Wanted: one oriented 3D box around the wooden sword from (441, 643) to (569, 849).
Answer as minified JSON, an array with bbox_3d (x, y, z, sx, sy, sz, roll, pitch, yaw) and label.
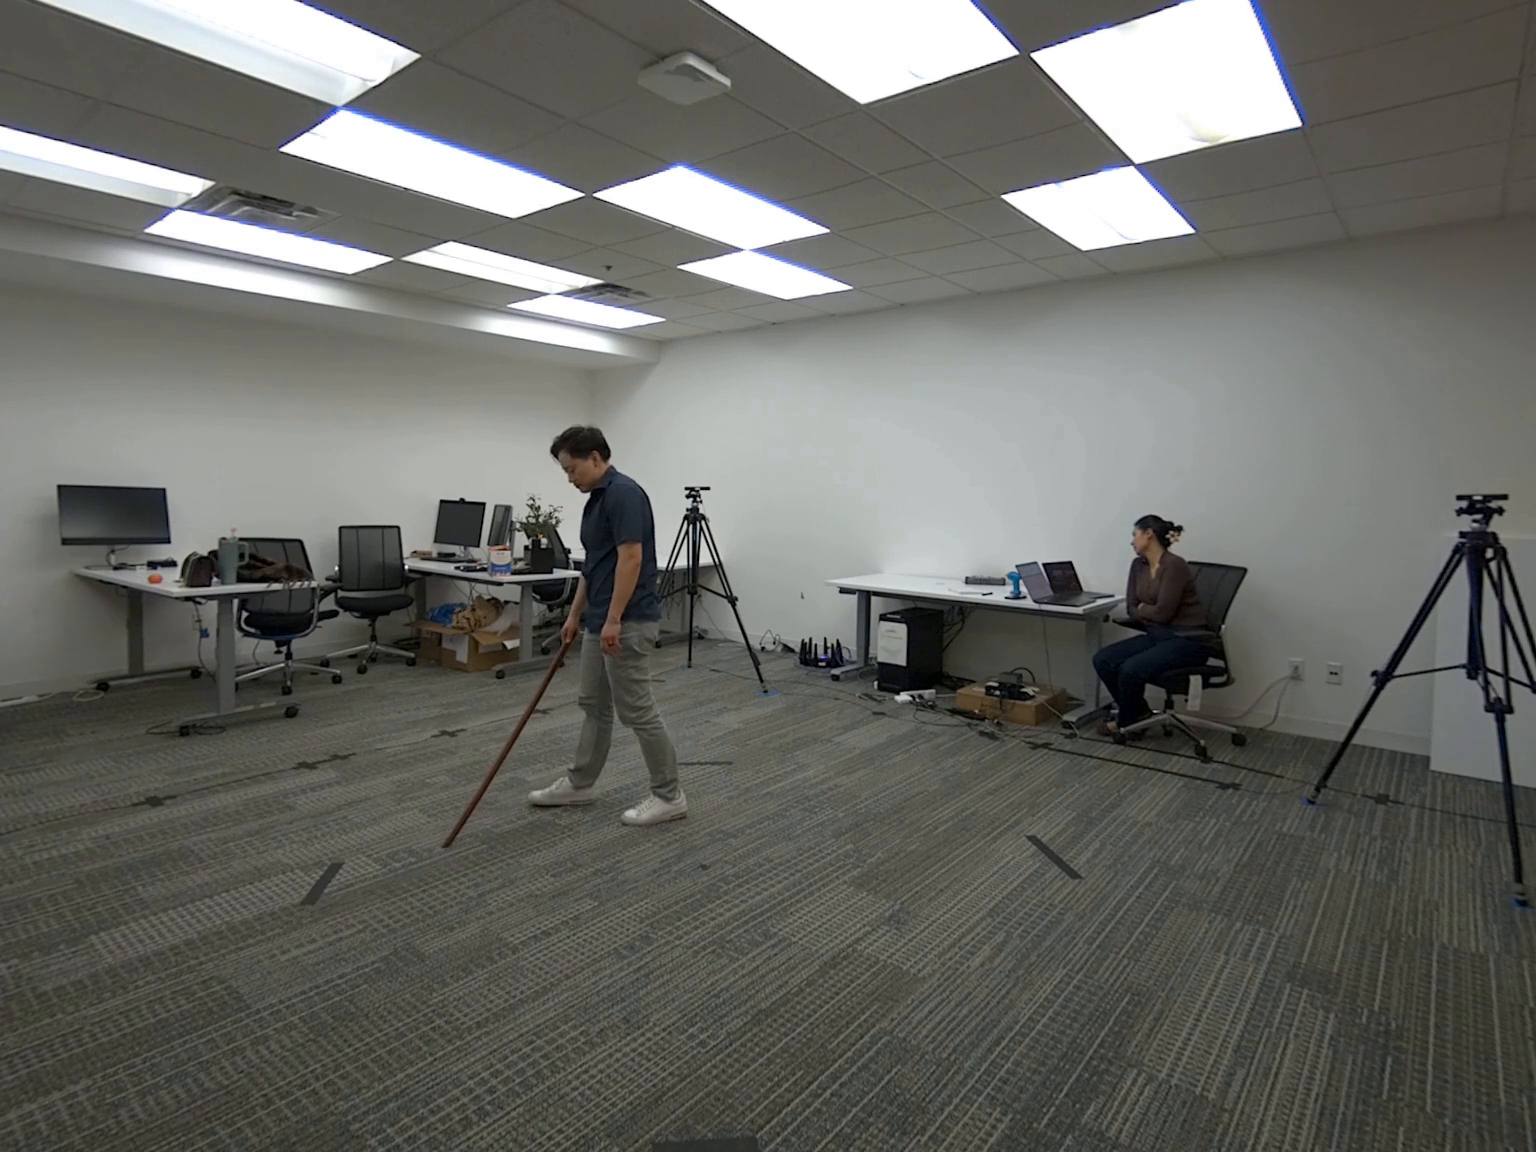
[{"bbox_3d":[-1.043,0.650,3.524,0.050,1.033,0.024,36,-32,-13],"label":"wooden sword"}]
